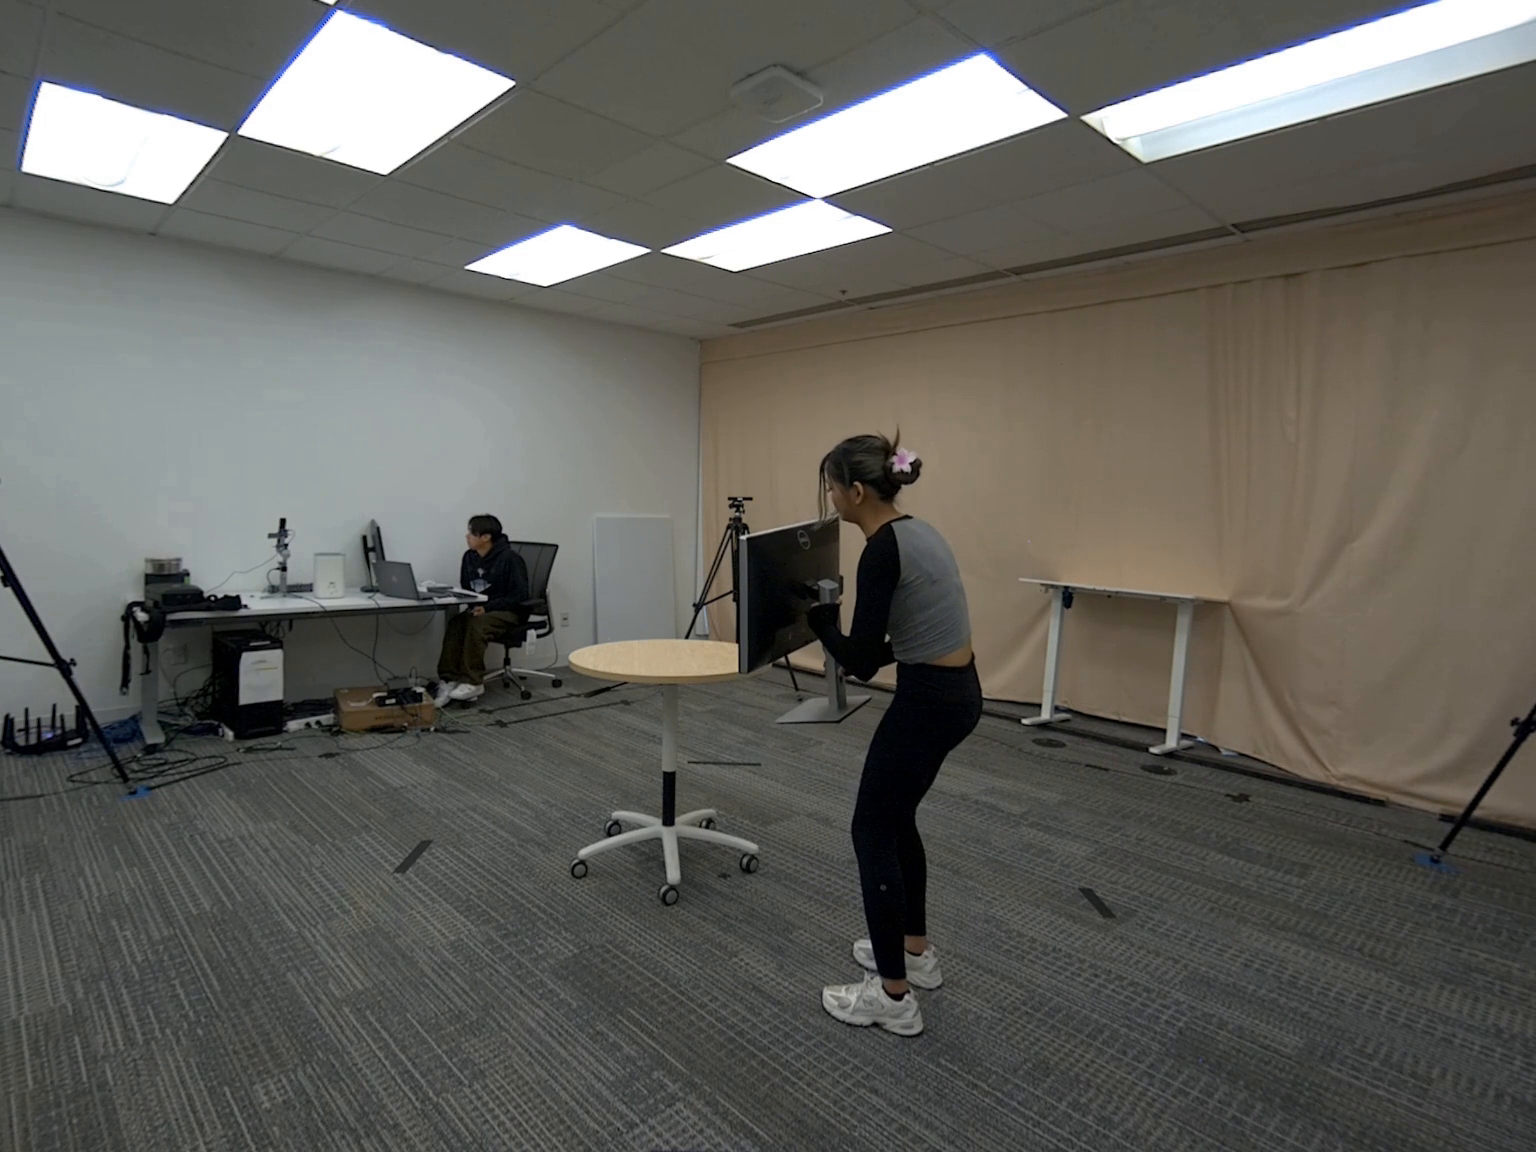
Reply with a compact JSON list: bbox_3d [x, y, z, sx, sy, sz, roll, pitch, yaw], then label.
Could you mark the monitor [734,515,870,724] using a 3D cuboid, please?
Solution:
[{"bbox_3d":[0.115,0.125,2.387,0.190,0.522,0.530,-9,3,31],"label":"monitor"}]
